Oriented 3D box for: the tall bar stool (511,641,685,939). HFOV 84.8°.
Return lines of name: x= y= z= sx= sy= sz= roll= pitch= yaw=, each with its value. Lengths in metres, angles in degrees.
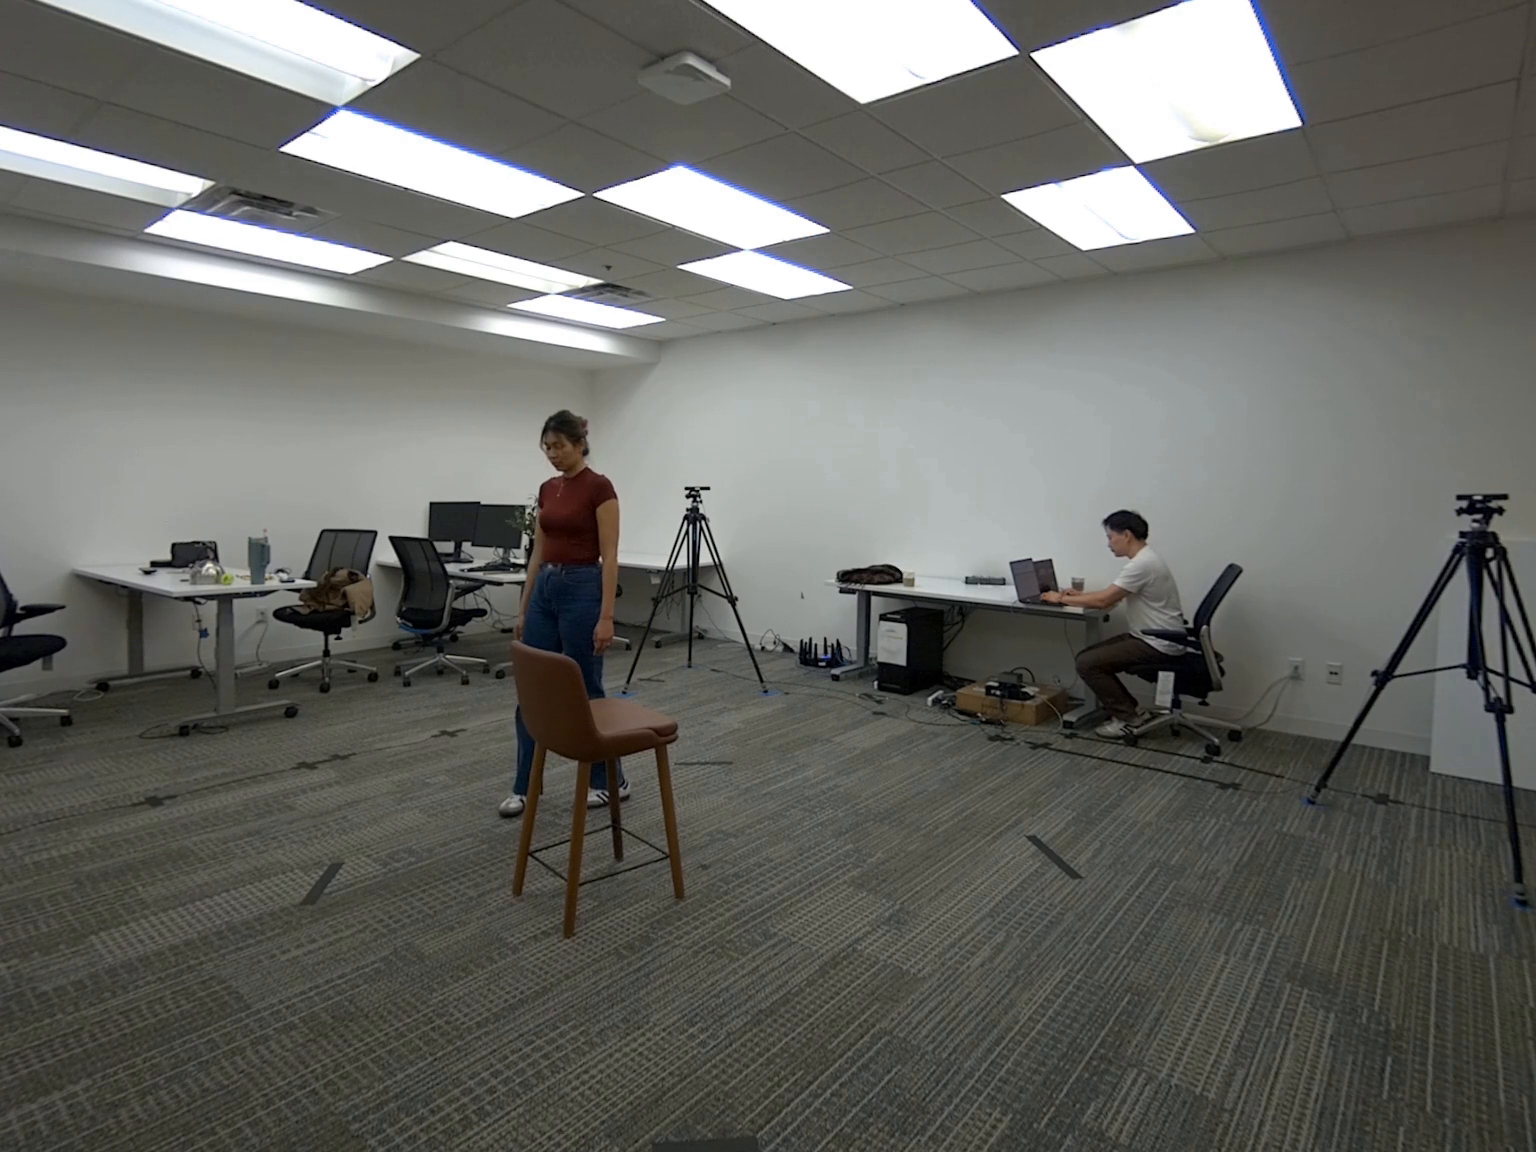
tall bar stool: x=-0.589 y=0.652 z=2.867 sx=0.454 sy=0.886 sz=0.472 roll=-5 pitch=6 yaw=-42
